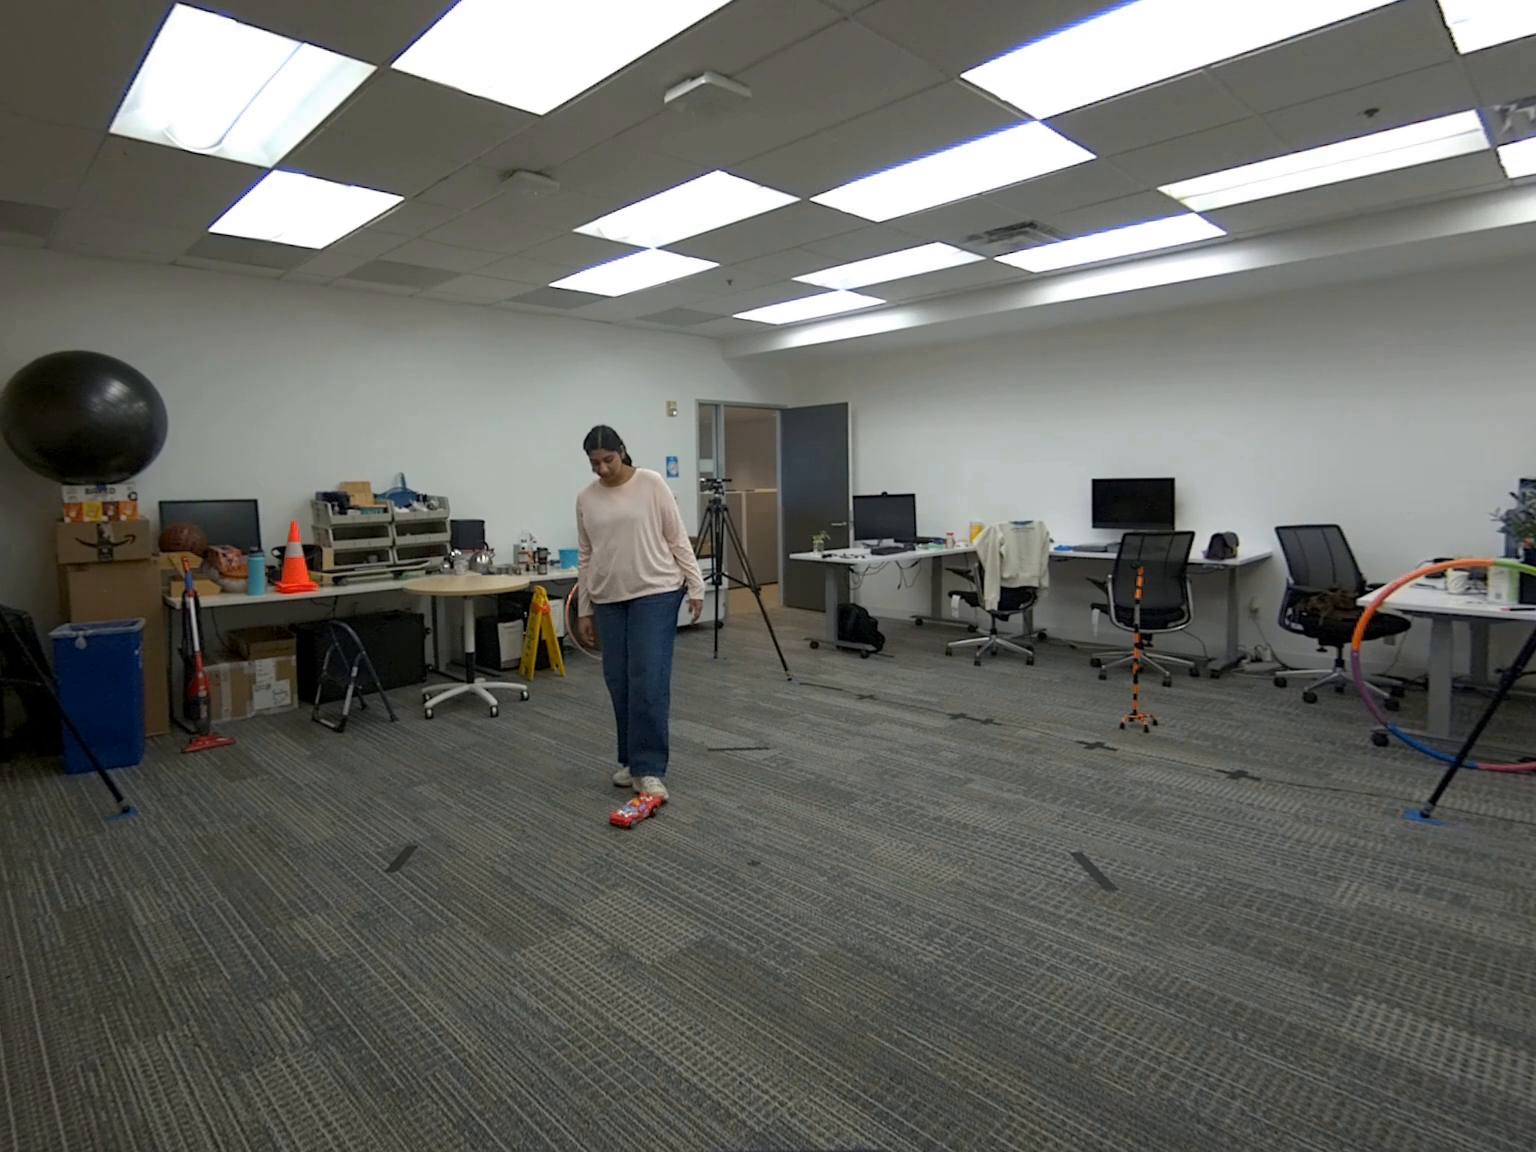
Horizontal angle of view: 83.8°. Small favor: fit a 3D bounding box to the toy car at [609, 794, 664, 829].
[{"bbox_3d":[-0.549,0.979,3.541,0.133,0.082,0.252,1,18,29],"label":"toy car"}]
